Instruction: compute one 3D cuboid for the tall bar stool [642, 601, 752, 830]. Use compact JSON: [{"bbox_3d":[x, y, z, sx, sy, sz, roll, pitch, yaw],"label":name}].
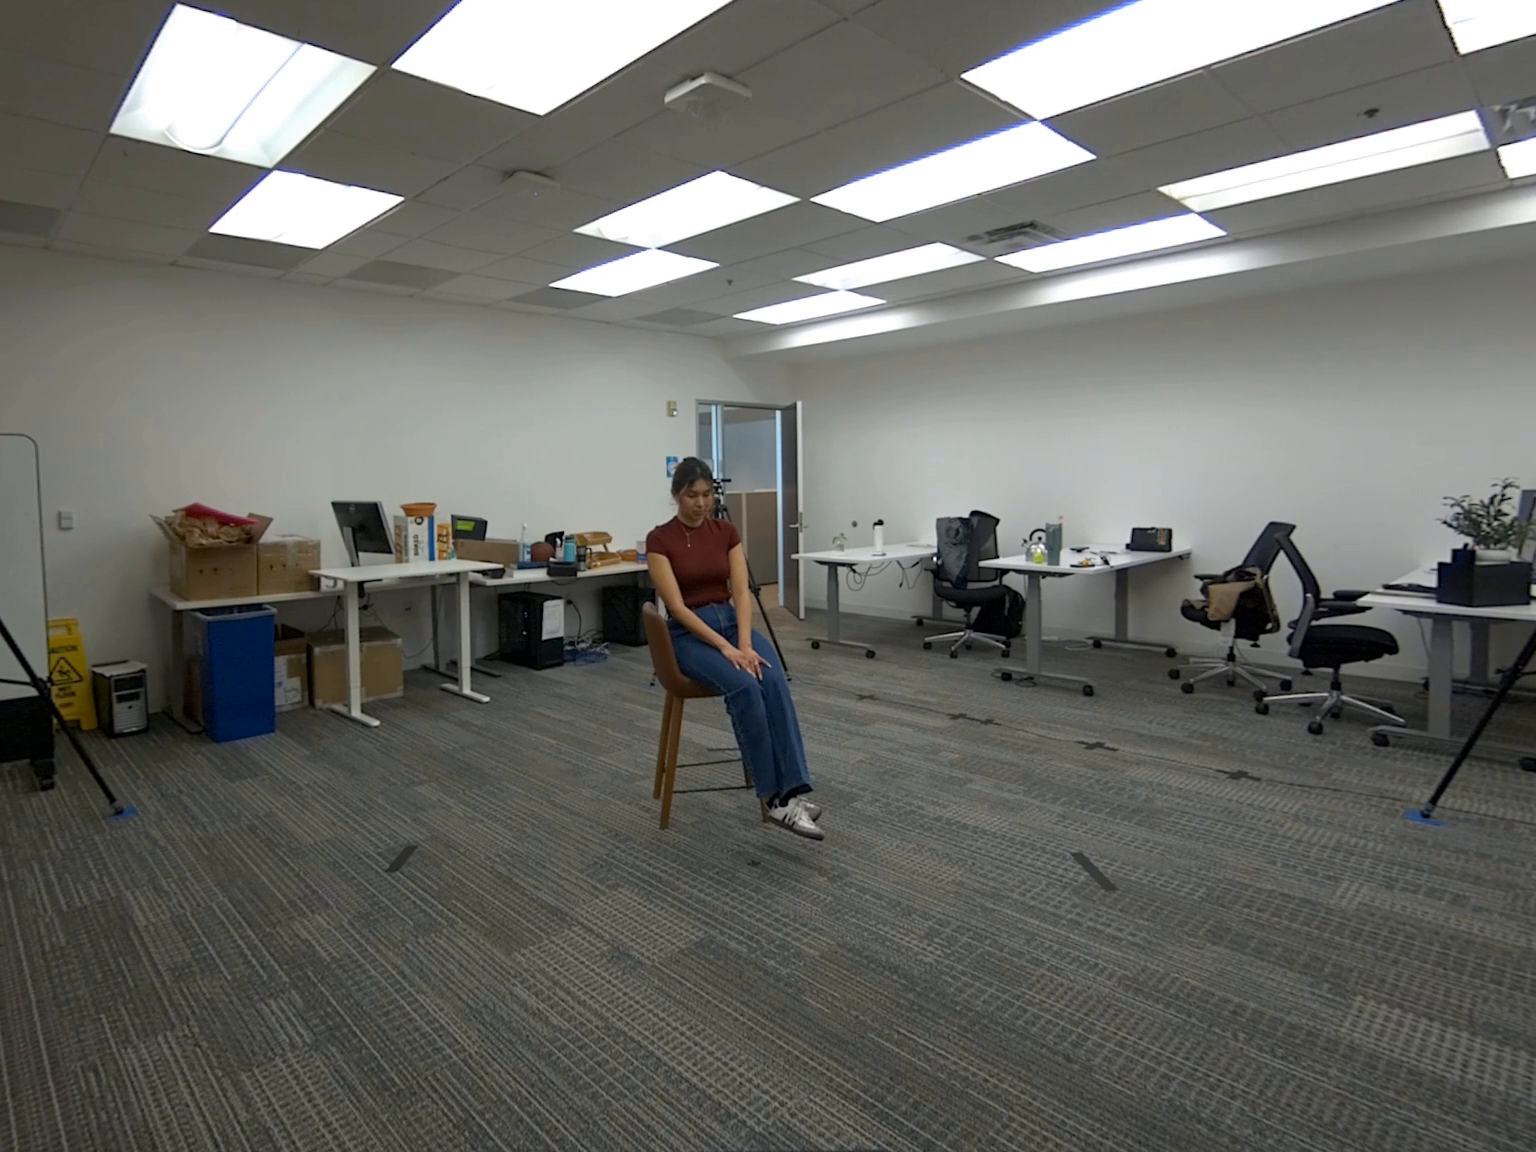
[{"bbox_3d":[-0.271,0.558,3.622,0.463,0.887,0.463,-3,4,-12],"label":"tall bar stool"}]
